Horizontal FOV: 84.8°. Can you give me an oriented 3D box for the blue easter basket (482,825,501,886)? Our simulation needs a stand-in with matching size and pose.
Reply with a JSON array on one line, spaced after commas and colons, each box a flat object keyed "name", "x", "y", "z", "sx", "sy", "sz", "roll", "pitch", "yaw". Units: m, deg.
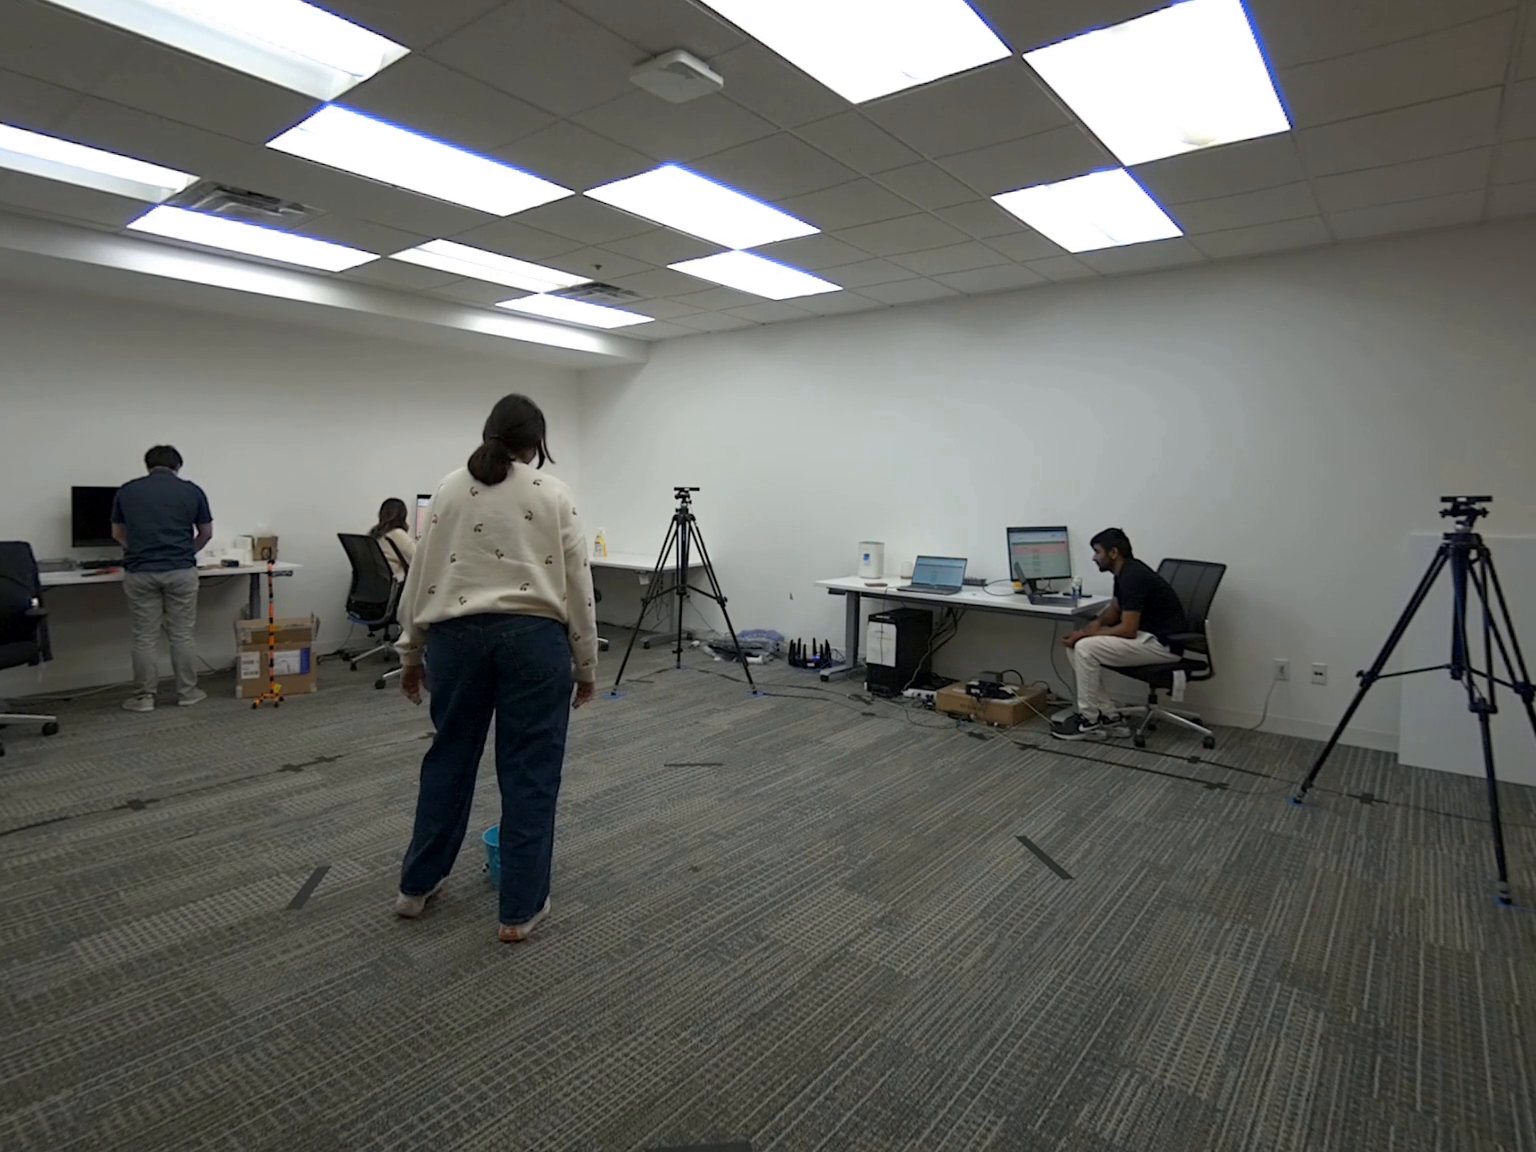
[{"name": "blue easter basket", "x": -0.900, "y": 0.983, "z": 3.021, "sx": 0.243, "sy": 0.155, "sz": 0.245, "roll": -1, "pitch": 4, "yaw": -2}]
